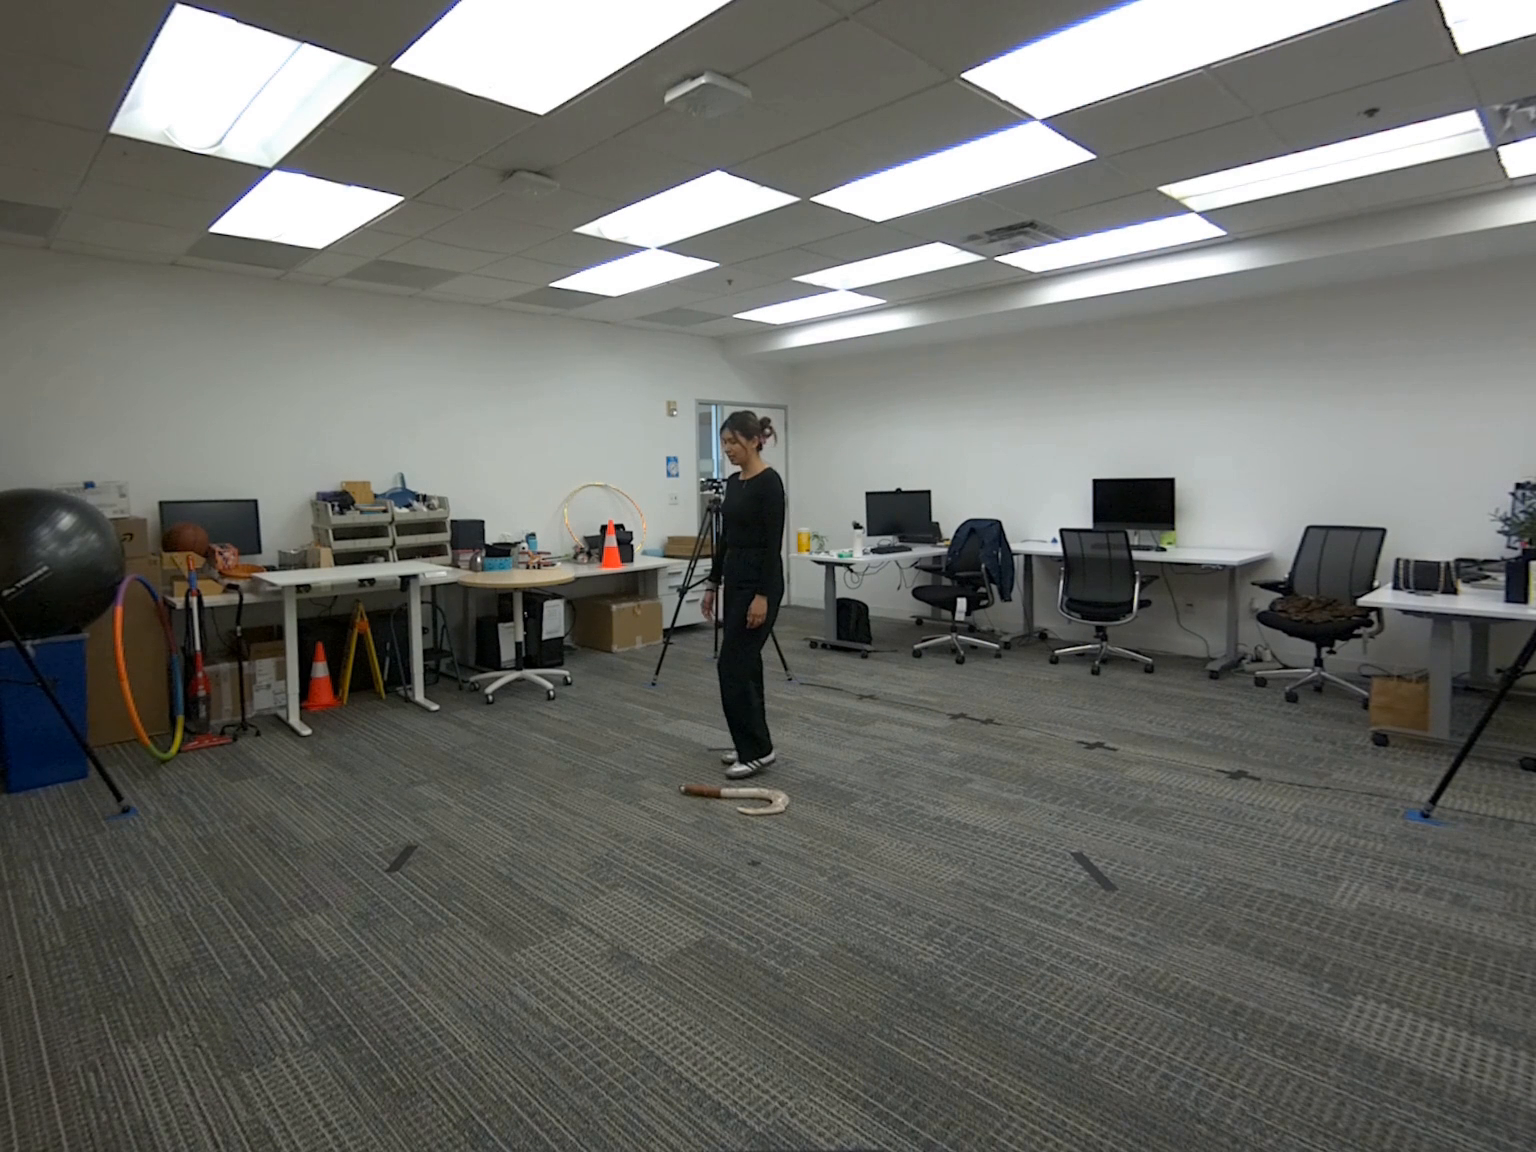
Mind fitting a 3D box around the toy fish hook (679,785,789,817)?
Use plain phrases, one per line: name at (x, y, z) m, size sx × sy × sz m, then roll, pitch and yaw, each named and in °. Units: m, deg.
toy fish hook at (-0.163, 0.957, 3.689) m, size 0.515 × 0.048 × 0.221 m, roll 1°, pitch 5°, yaw 18°
